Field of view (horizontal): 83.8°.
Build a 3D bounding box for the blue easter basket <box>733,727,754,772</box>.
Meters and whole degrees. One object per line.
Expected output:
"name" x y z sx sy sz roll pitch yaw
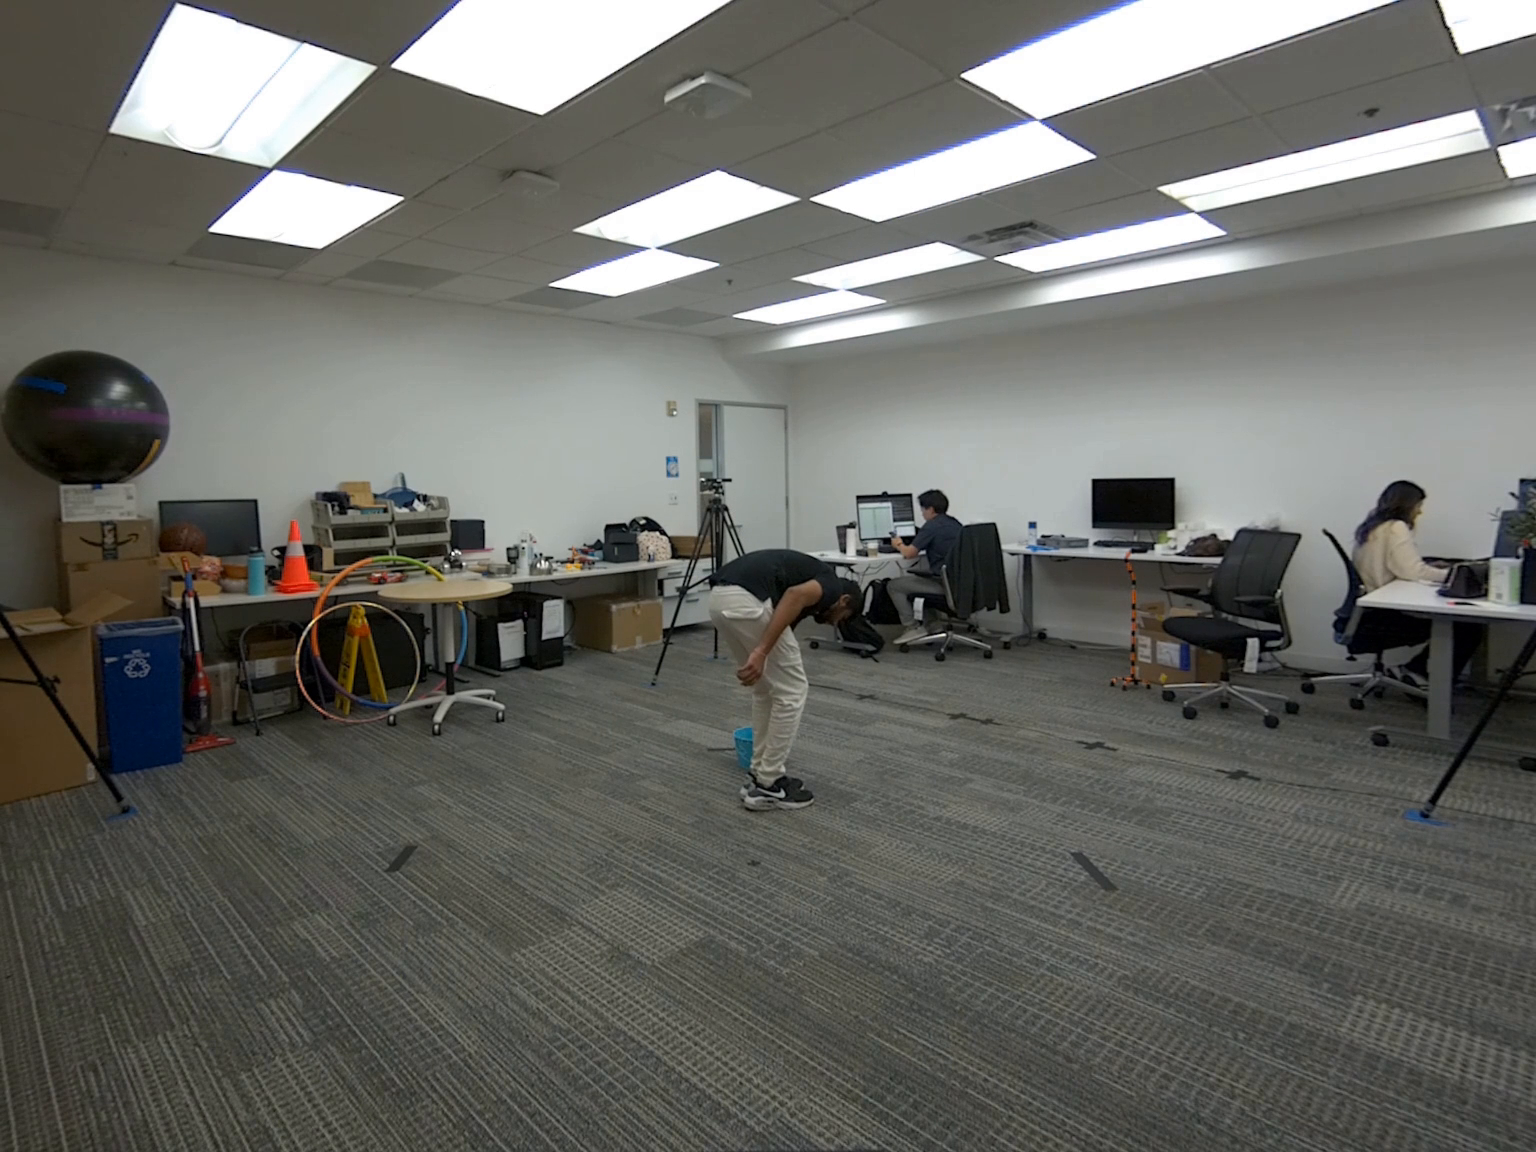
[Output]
"blue easter basket" -0.052 0.850 4.200 0.243 0.155 0.245 -2 5 -2
